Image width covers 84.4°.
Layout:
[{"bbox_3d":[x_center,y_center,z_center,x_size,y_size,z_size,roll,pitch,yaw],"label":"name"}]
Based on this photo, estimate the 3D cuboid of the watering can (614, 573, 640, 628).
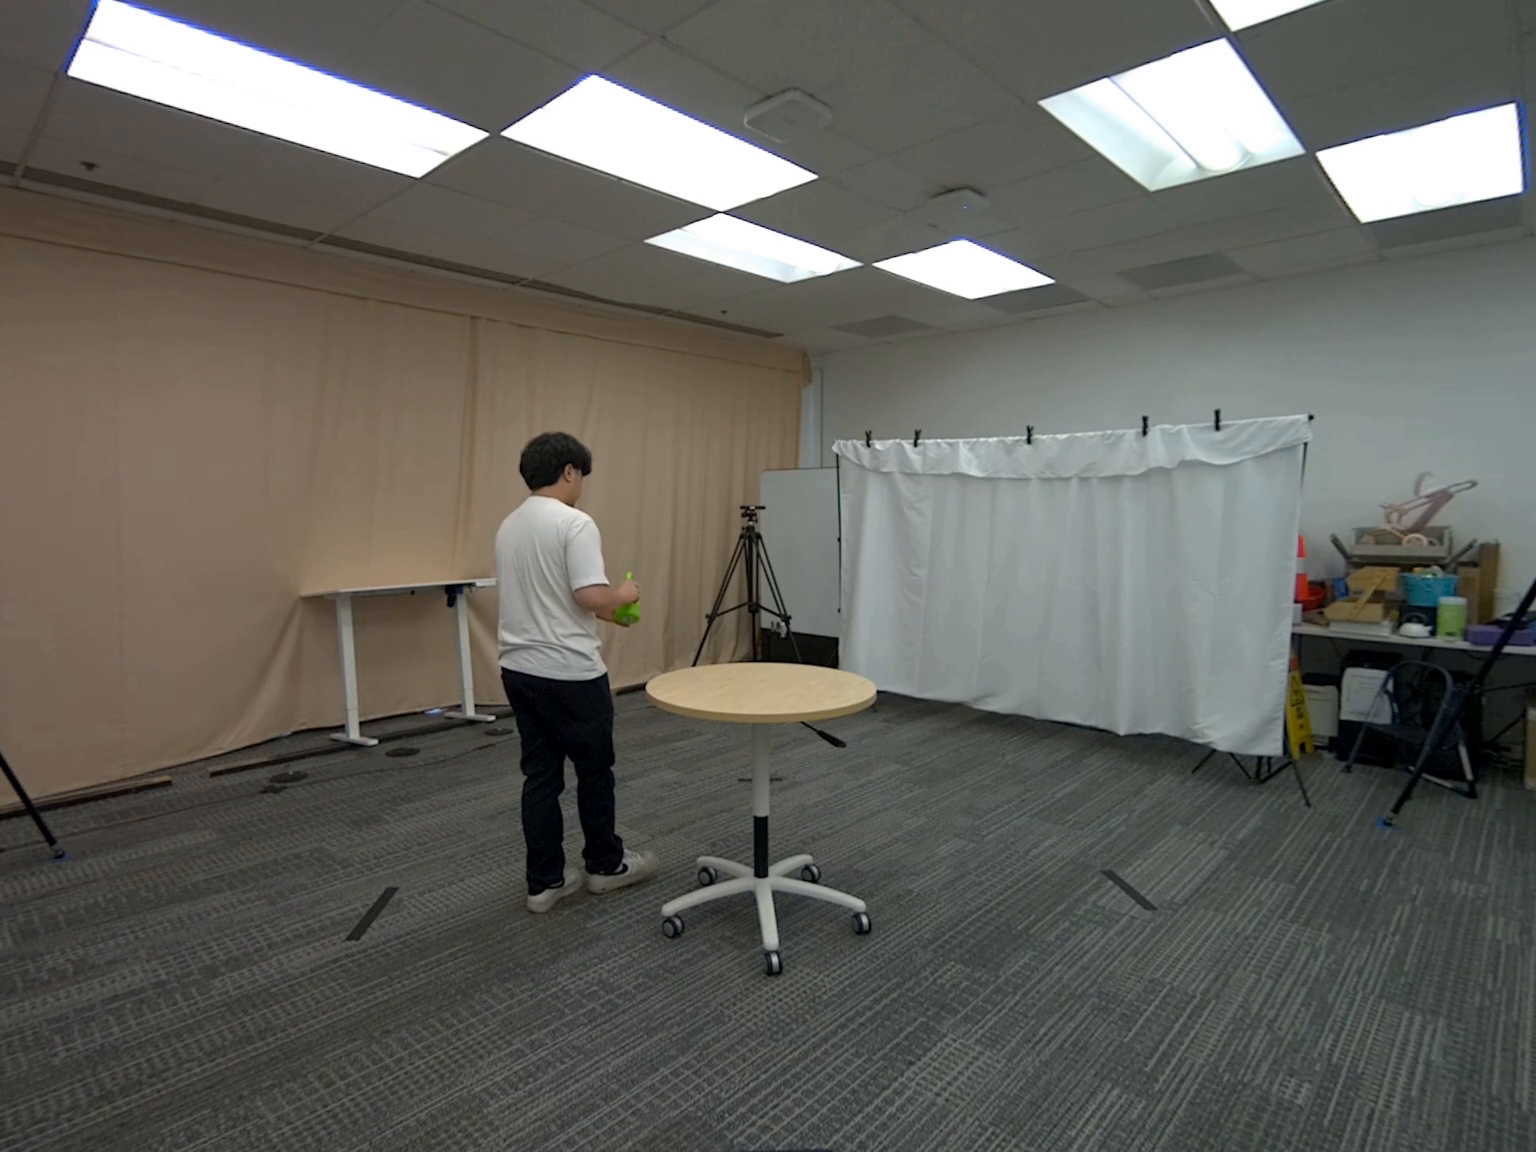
[{"bbox_3d":[-0.531,0.101,3.241,0.099,0.179,0.273,1,-20,5],"label":"watering can"}]
